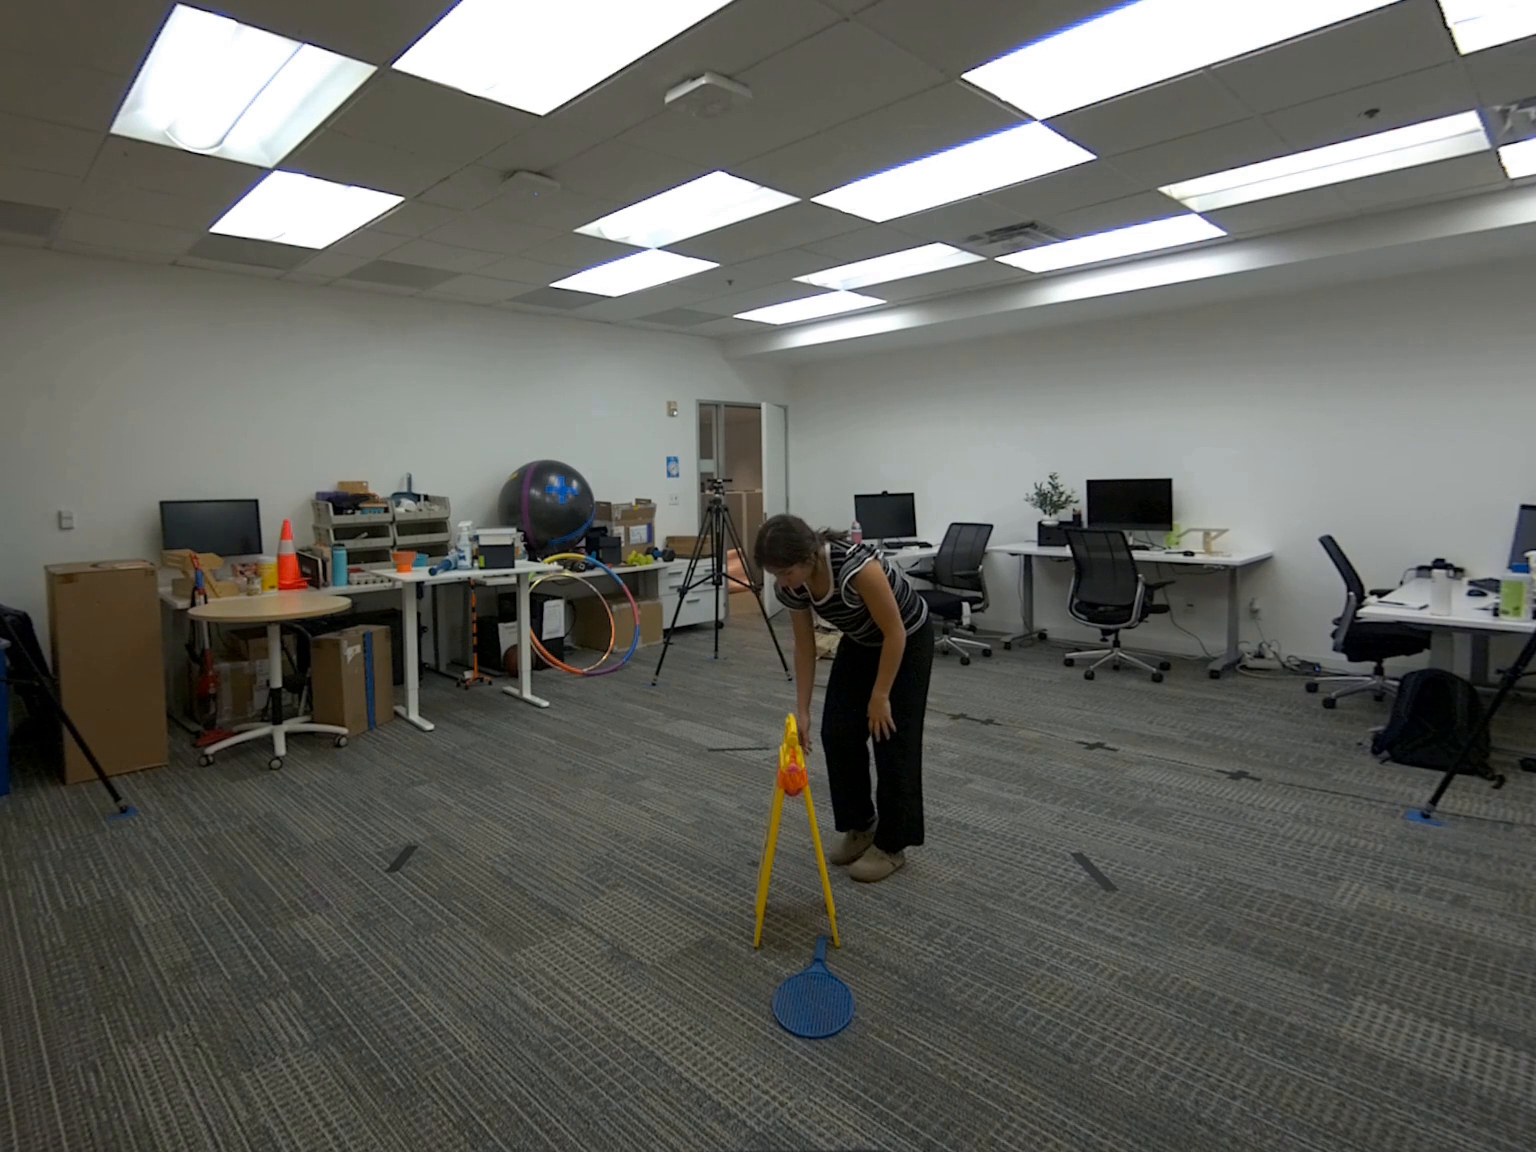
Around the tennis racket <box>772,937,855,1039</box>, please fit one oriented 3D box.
[{"bbox_3d":[0.136,1.116,2.347,0.216,0.031,0.432,0,8,8],"label":"tennis racket"}]
